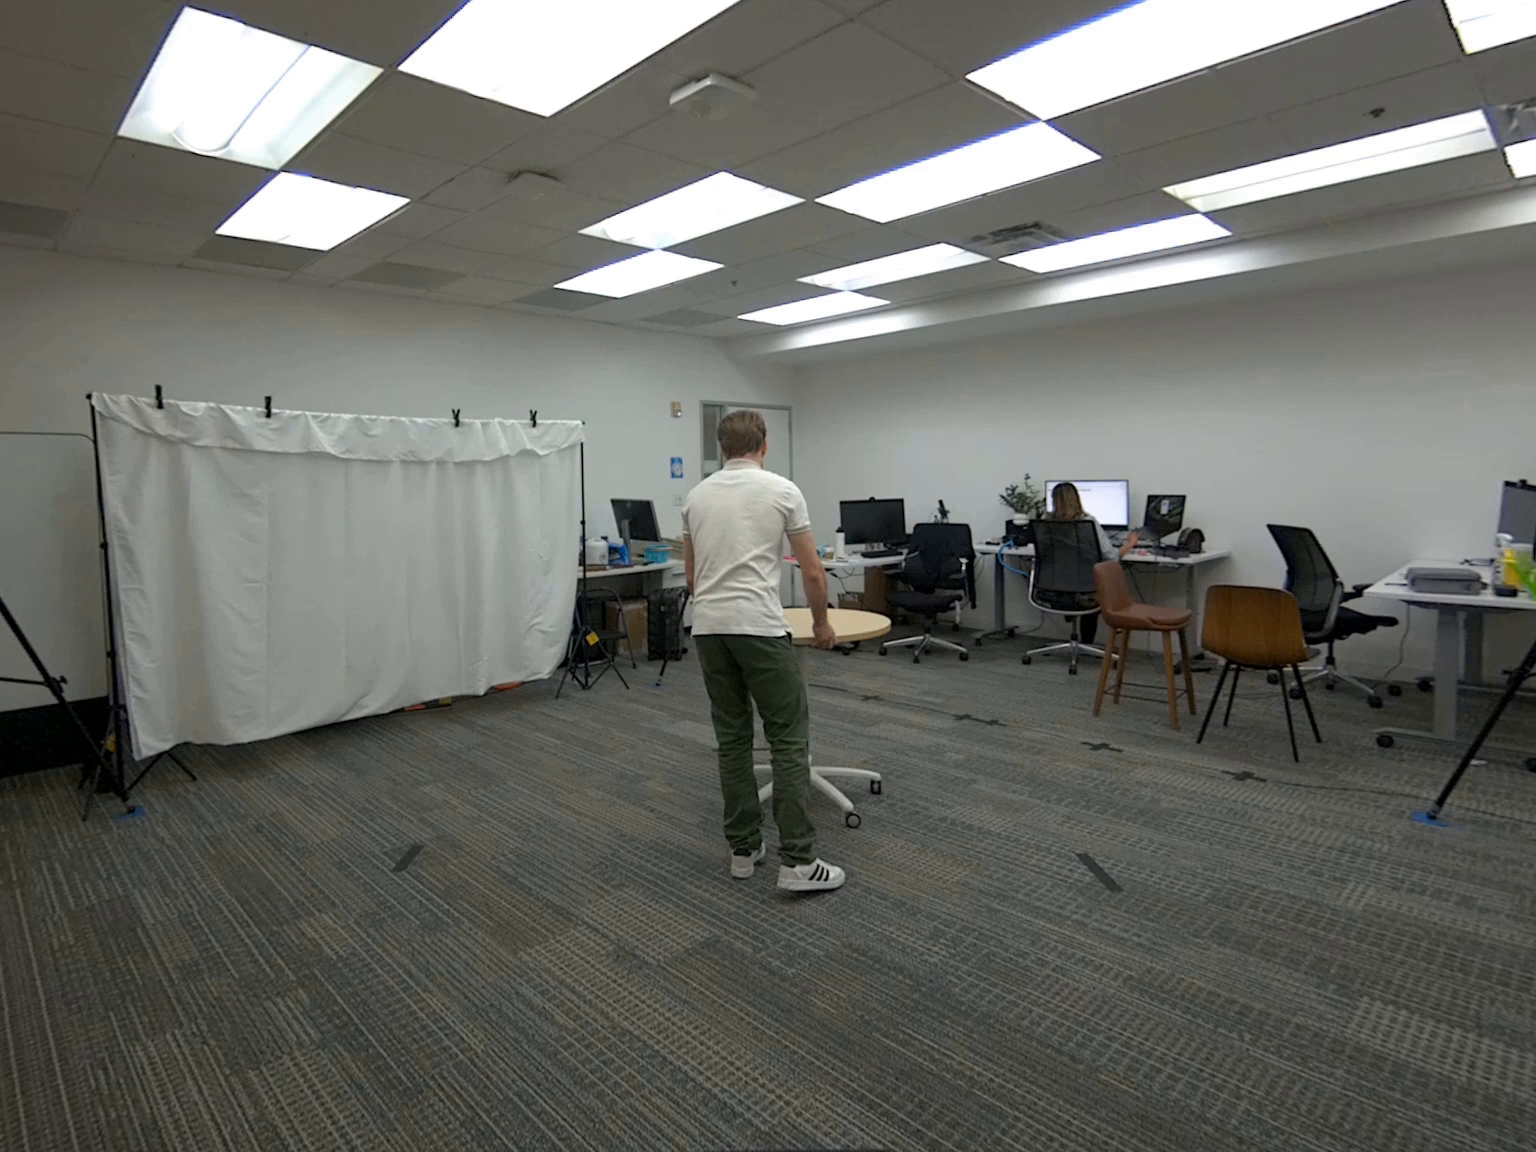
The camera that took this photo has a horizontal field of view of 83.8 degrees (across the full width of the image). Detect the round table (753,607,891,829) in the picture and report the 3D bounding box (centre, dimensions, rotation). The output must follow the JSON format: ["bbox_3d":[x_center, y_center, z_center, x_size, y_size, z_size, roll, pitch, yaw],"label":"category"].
[{"bbox_3d":[0.148,0.589,3.699,0.763,0.791,0.768,-1,4,-2],"label":"round table"}]
